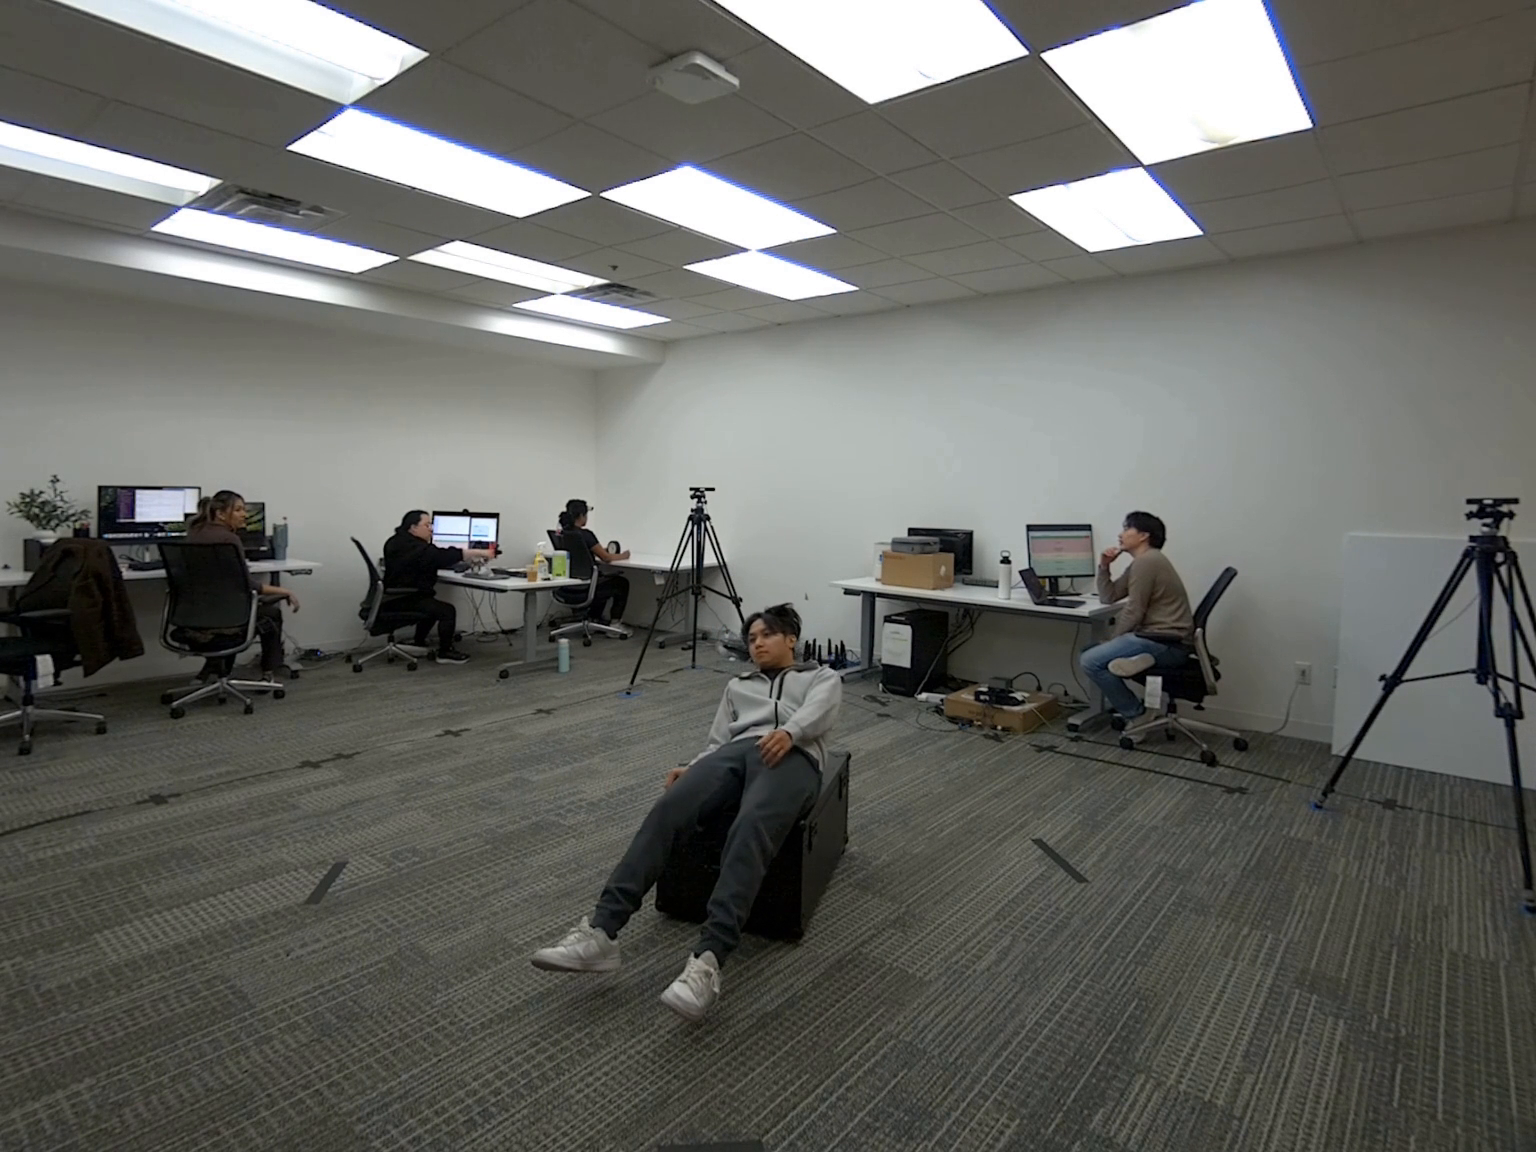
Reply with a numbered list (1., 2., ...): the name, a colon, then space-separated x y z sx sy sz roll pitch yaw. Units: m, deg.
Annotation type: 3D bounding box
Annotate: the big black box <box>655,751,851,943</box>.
1. big black box: -0.042 0.892 2.996 0.532 0.395 0.847 2 4 17
